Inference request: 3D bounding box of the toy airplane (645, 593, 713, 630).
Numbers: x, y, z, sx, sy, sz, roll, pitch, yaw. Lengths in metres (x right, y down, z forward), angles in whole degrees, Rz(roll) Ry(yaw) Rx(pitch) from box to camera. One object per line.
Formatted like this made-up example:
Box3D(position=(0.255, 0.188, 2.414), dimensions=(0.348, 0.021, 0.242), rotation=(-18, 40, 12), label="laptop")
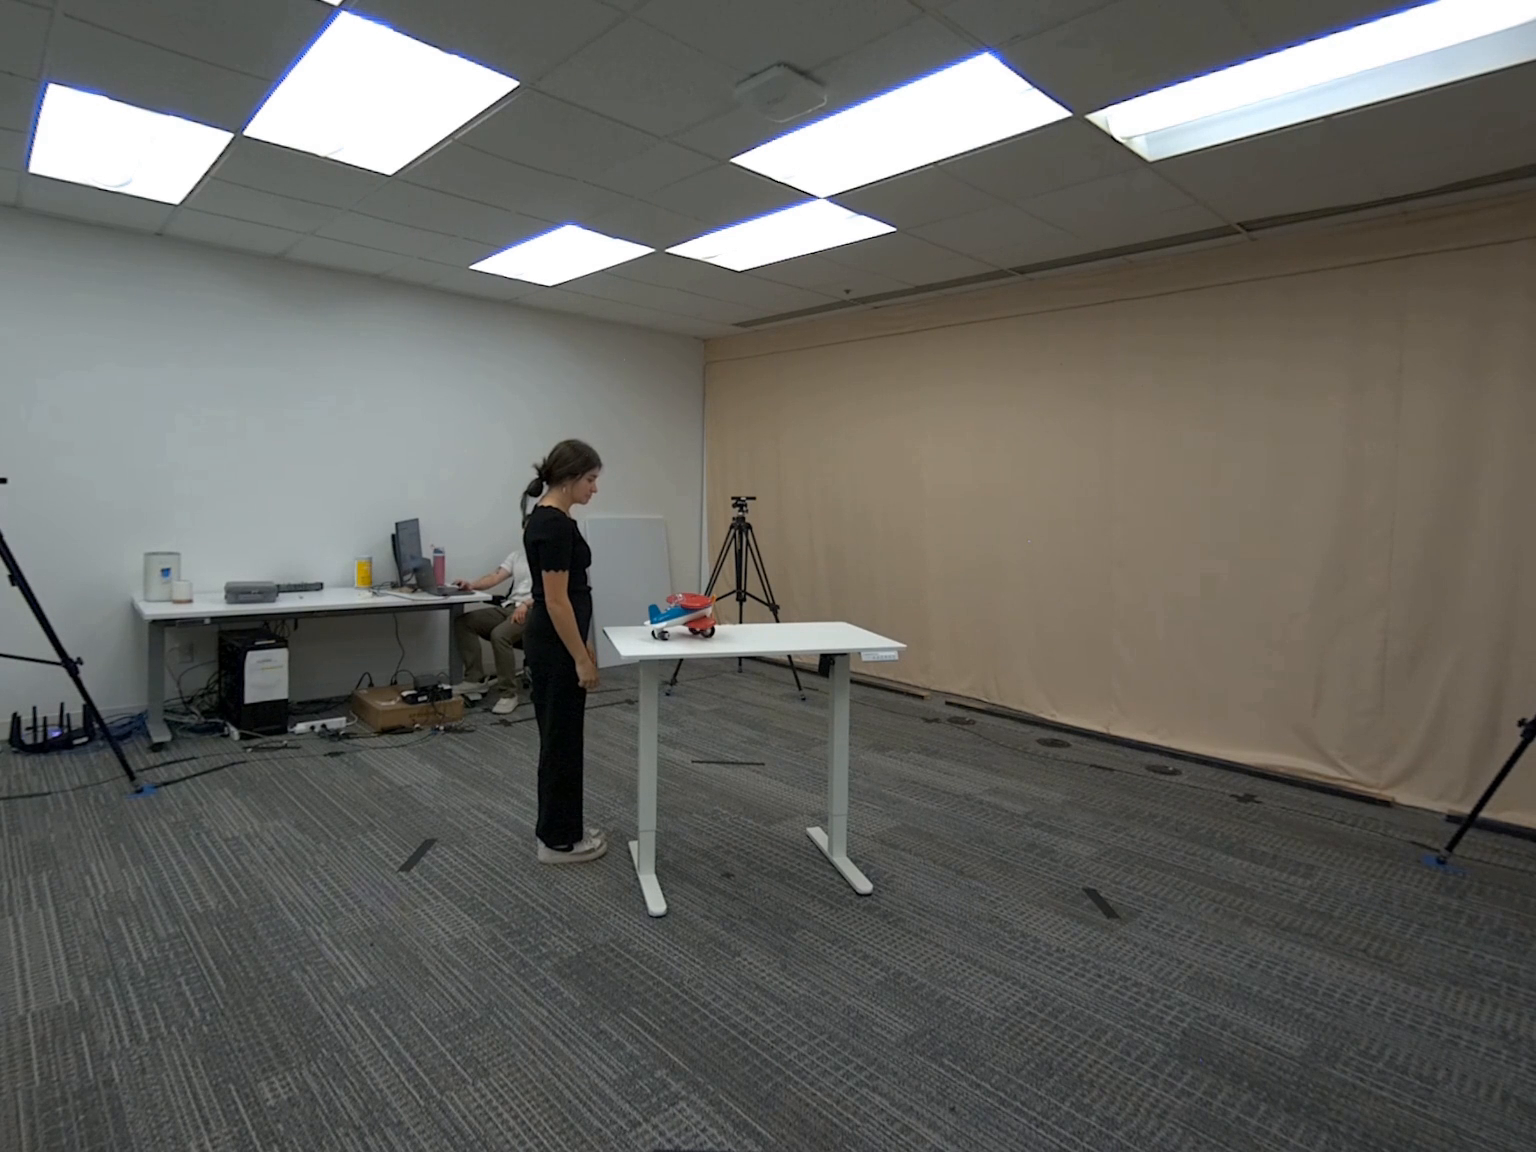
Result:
Box3D(position=(-0.309, 0.149, 3.039), dimensions=(0.256, 0.156, 0.254), rotation=(2, 3, 29), label="toy airplane")
